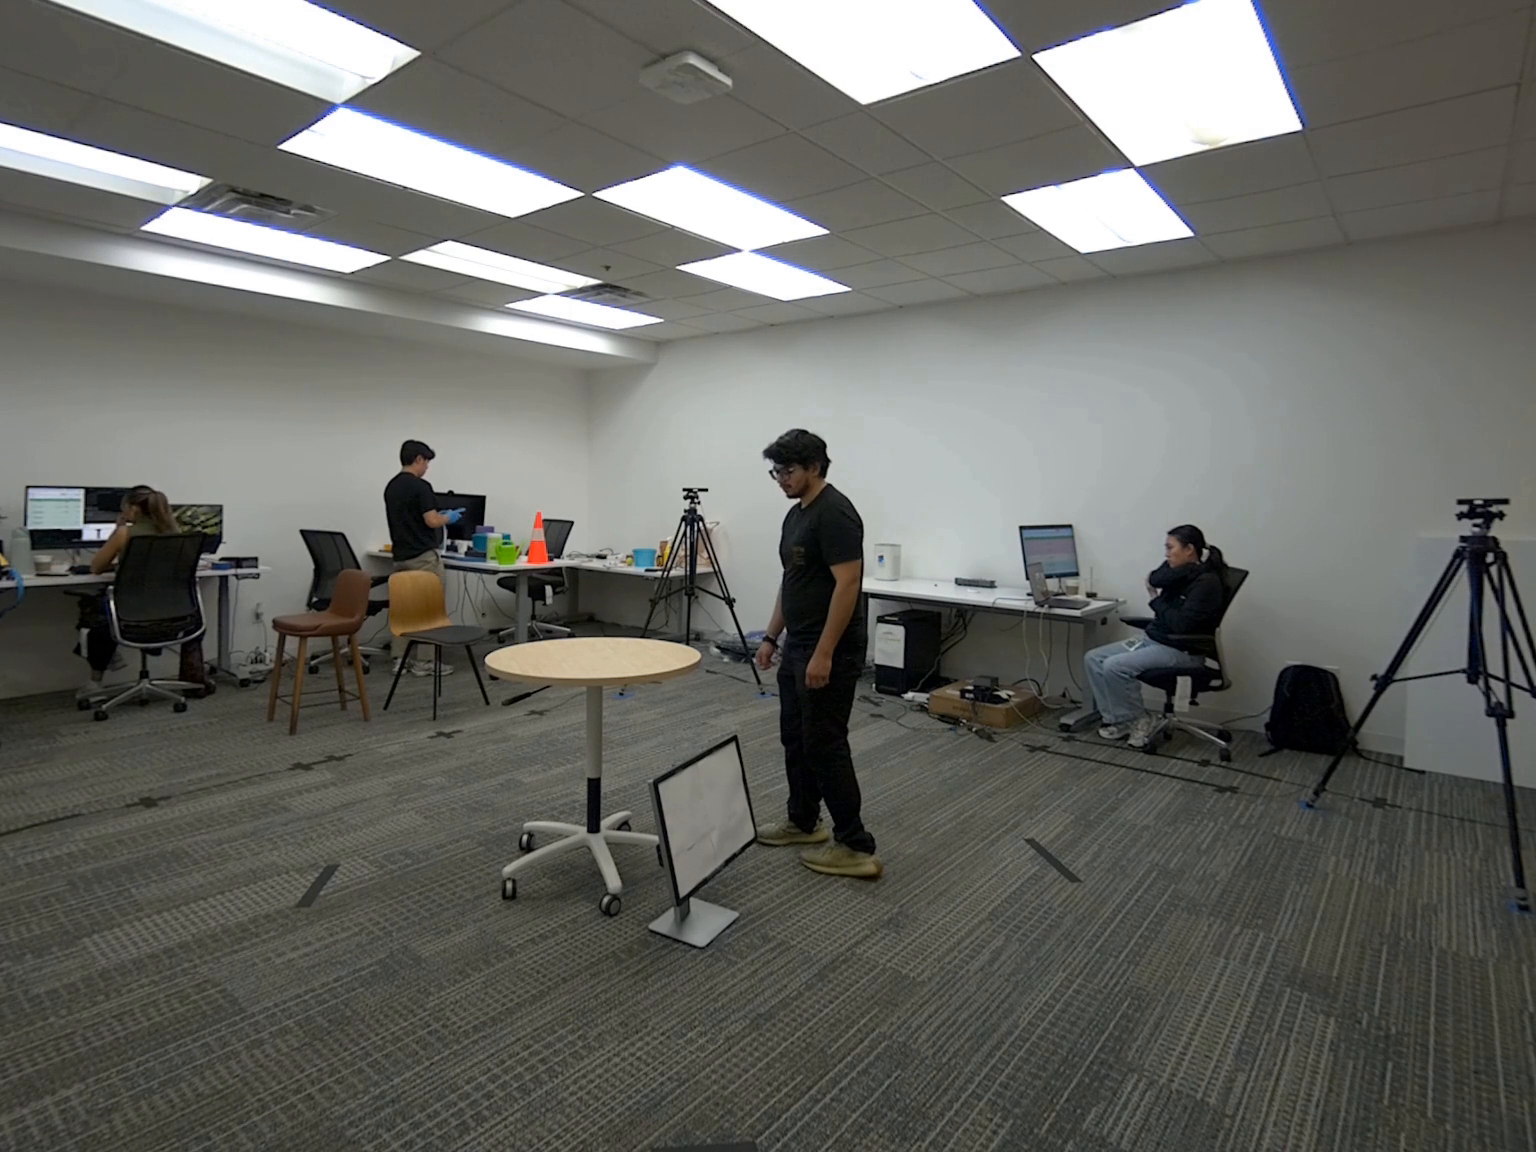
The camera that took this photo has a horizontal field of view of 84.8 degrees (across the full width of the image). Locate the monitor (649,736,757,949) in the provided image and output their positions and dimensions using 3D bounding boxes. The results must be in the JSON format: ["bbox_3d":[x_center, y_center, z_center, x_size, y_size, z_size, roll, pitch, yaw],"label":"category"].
[{"bbox_3d":[-0.257,0.840,2.714,0.215,0.554,0.552,-5,1,25],"label":"monitor"}]
